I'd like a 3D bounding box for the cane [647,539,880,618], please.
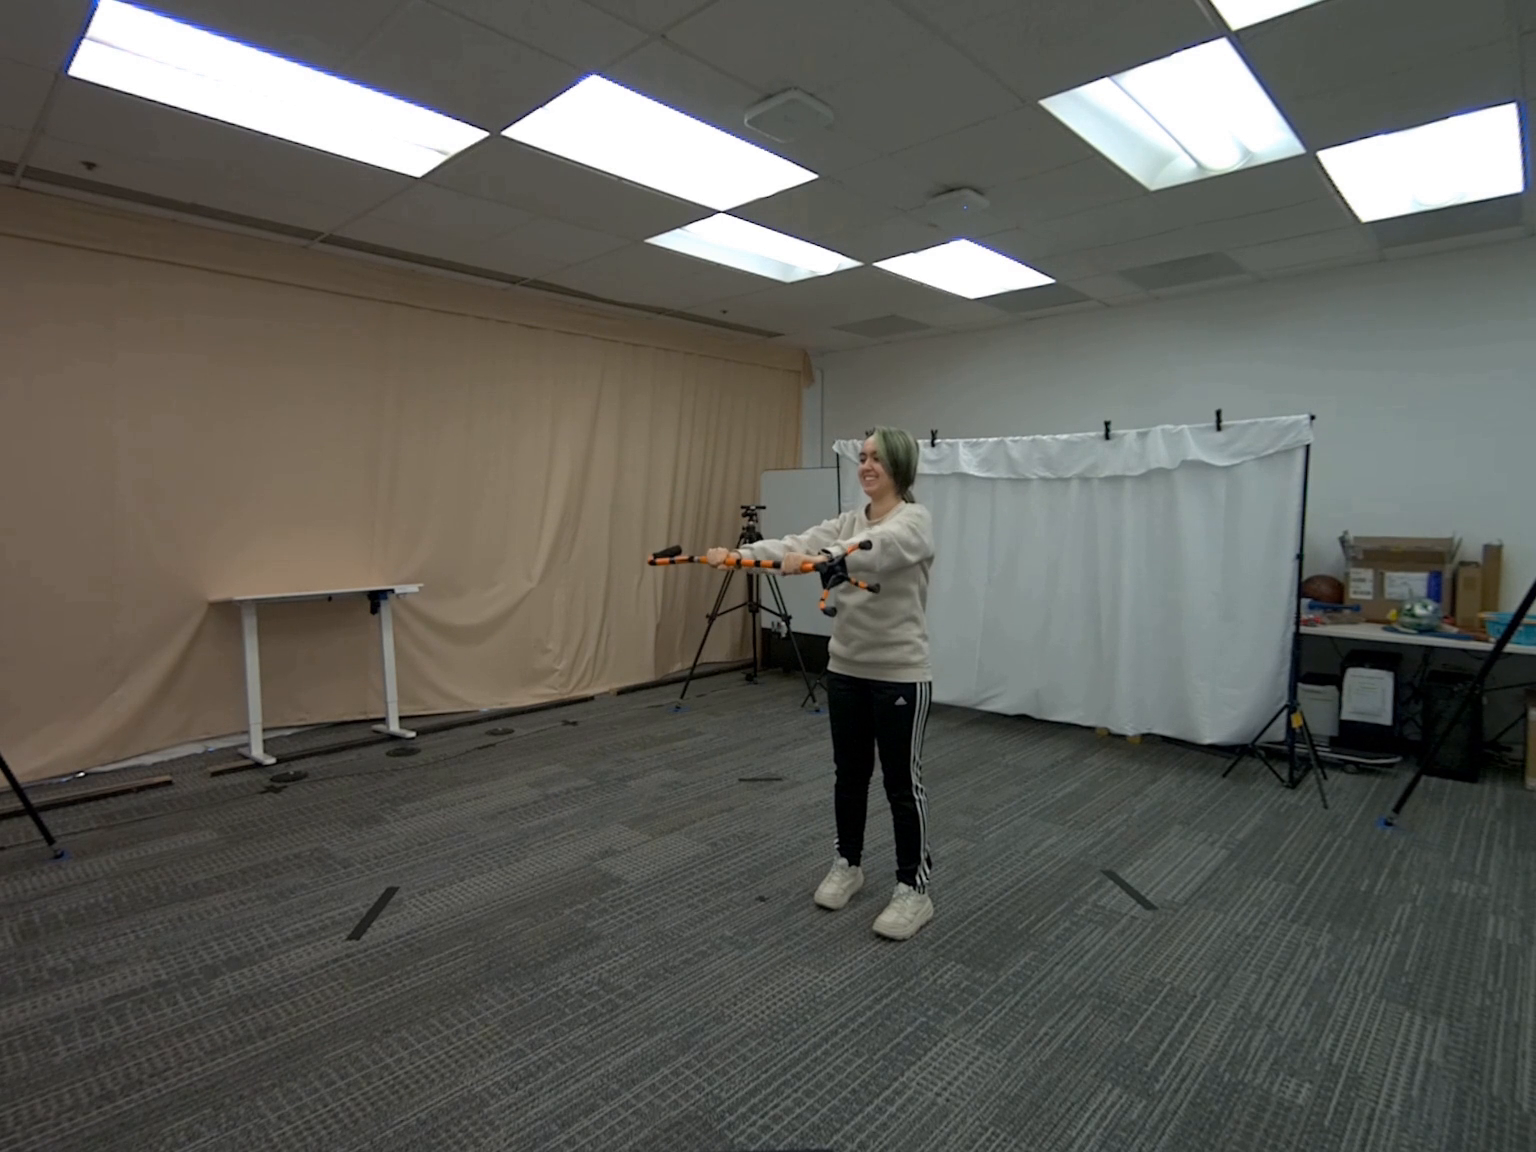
[{"bbox_3d":[-0.086,-0.033,2.546,0.202,0.150,0.938,-24,18,-36],"label":"cane"}]
